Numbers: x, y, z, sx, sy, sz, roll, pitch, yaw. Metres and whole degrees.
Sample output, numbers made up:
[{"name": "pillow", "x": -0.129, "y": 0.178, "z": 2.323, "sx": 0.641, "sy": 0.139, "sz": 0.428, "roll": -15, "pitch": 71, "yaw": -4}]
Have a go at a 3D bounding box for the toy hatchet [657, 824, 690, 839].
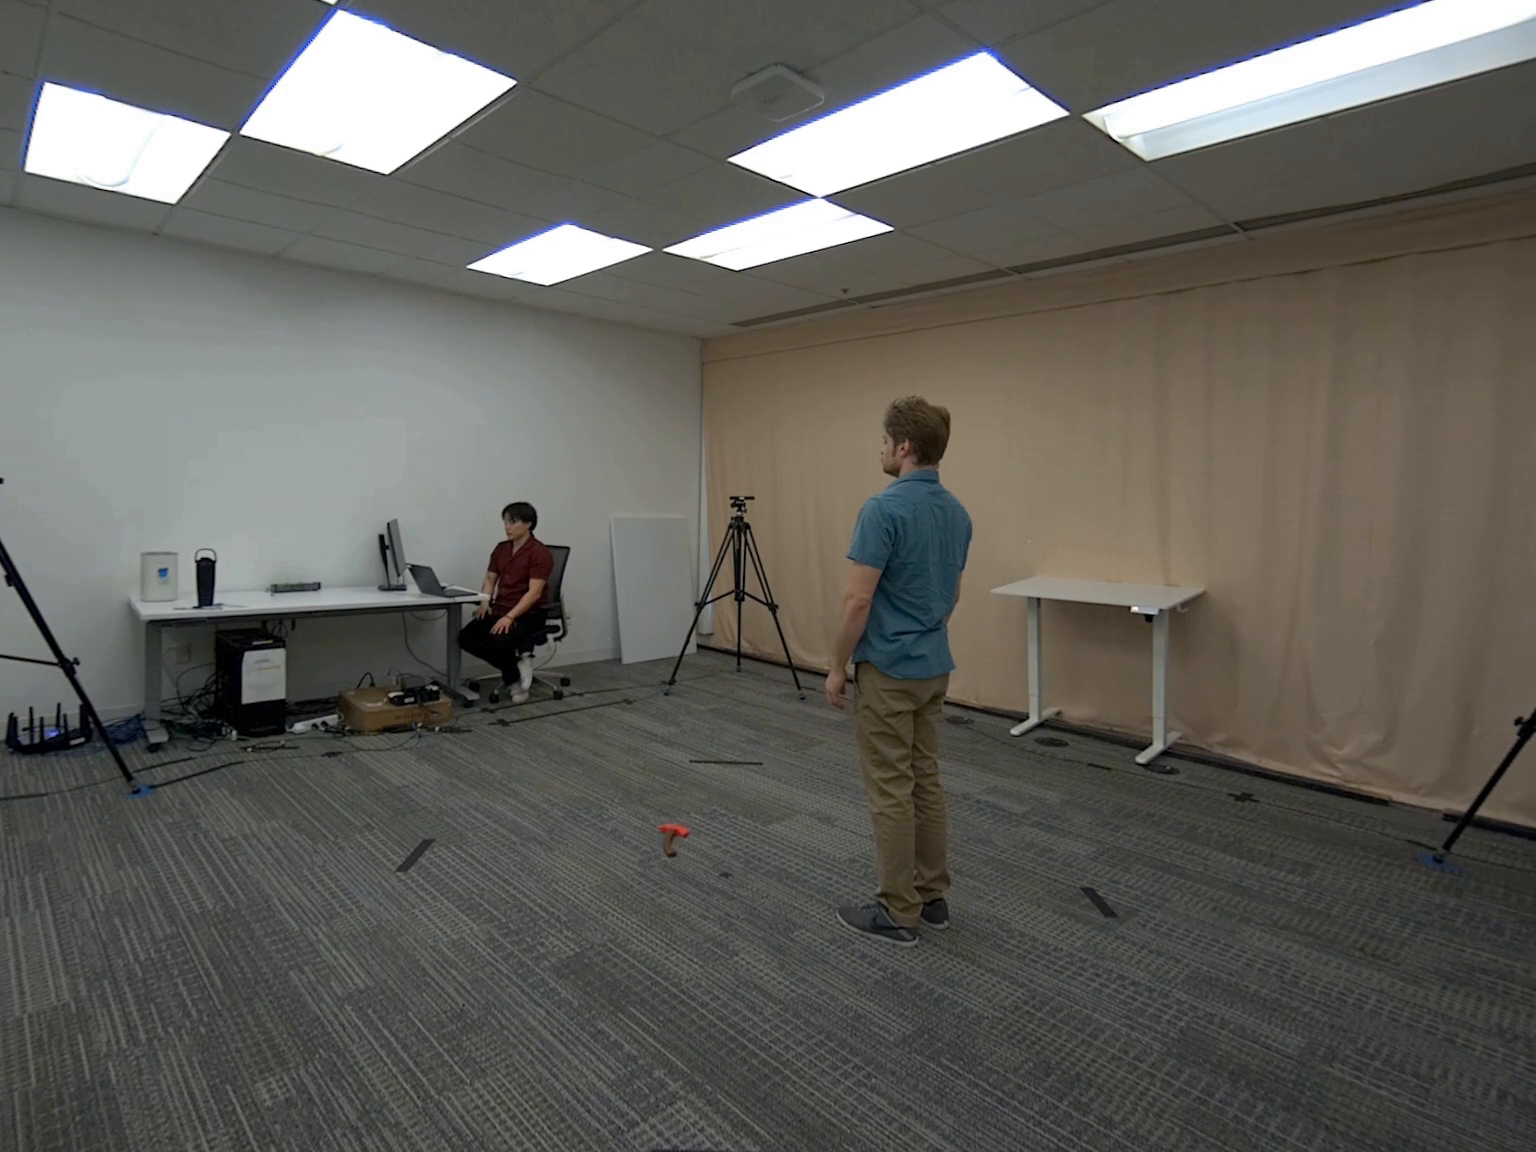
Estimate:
[{"name": "toy hatchet", "x": -0.371, "y": 1.065, "z": 3.384, "sx": 0.129, "sy": 0.029, "sz": 0.274, "roll": 2, "pitch": 7, "yaw": -16}]
